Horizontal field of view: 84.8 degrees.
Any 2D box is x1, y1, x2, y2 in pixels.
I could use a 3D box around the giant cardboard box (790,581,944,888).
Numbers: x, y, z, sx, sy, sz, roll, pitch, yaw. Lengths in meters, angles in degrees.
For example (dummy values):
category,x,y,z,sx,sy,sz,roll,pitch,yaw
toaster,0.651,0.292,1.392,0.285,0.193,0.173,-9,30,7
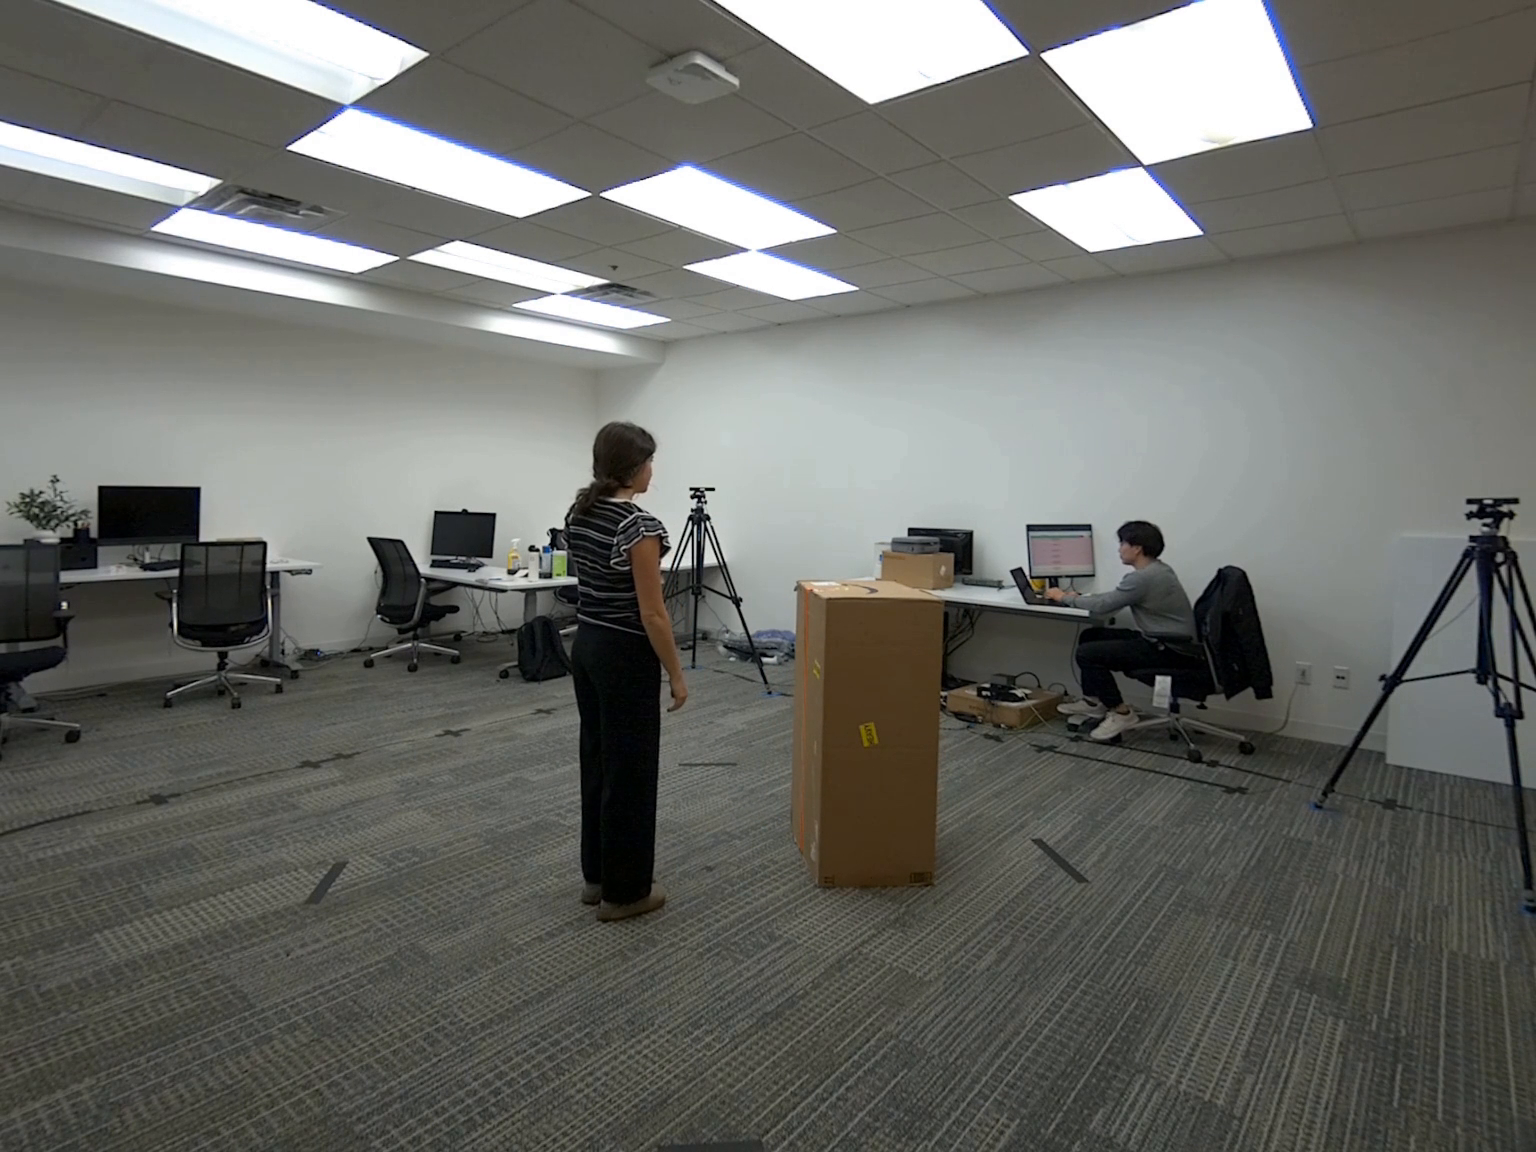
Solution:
category,x,y,z,sx,sy,sz,roll,pitch,yaw
giant cardboard box,0.345,0.555,3.257,0.423,1.022,0.584,1,4,-8
